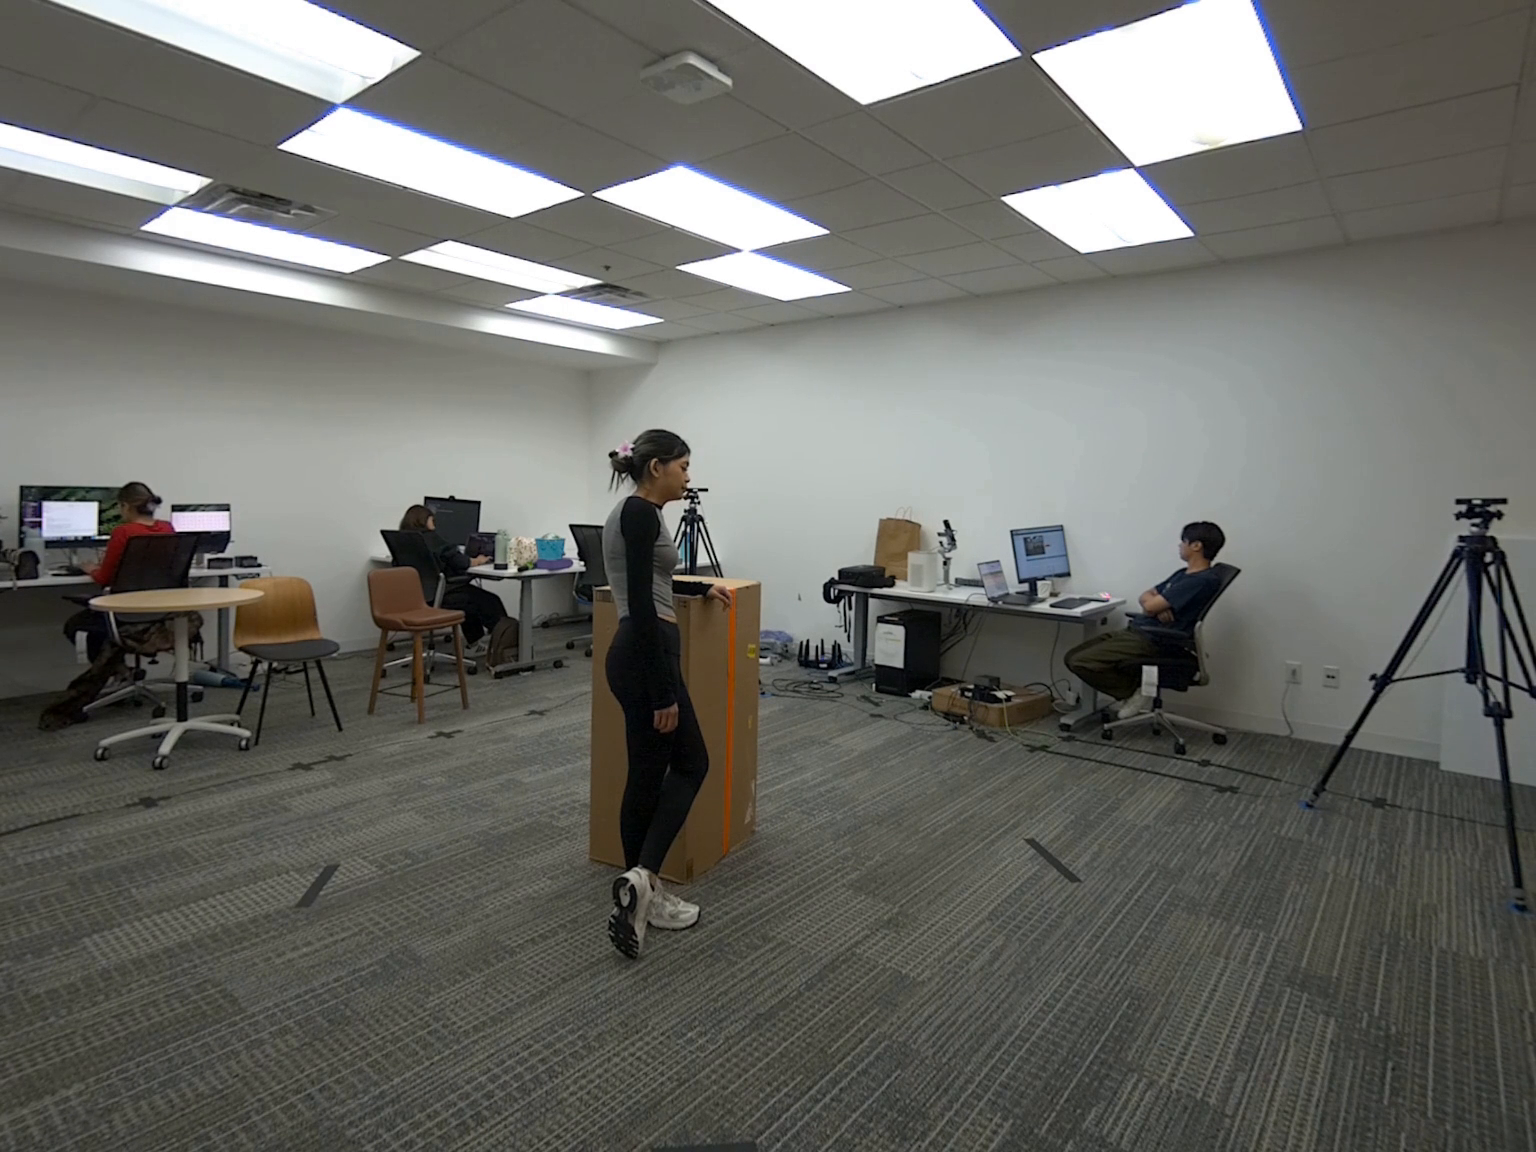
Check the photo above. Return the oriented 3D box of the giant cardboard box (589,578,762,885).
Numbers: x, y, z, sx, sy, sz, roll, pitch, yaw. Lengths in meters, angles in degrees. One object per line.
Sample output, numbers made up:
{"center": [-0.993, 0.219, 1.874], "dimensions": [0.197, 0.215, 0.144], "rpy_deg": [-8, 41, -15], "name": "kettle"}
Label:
{"center": [-0.356, 0.539, 3.303], "dimensions": [0.438, 1.023, 0.564], "rpy_deg": [3, 4, 27], "name": "giant cardboard box"}
